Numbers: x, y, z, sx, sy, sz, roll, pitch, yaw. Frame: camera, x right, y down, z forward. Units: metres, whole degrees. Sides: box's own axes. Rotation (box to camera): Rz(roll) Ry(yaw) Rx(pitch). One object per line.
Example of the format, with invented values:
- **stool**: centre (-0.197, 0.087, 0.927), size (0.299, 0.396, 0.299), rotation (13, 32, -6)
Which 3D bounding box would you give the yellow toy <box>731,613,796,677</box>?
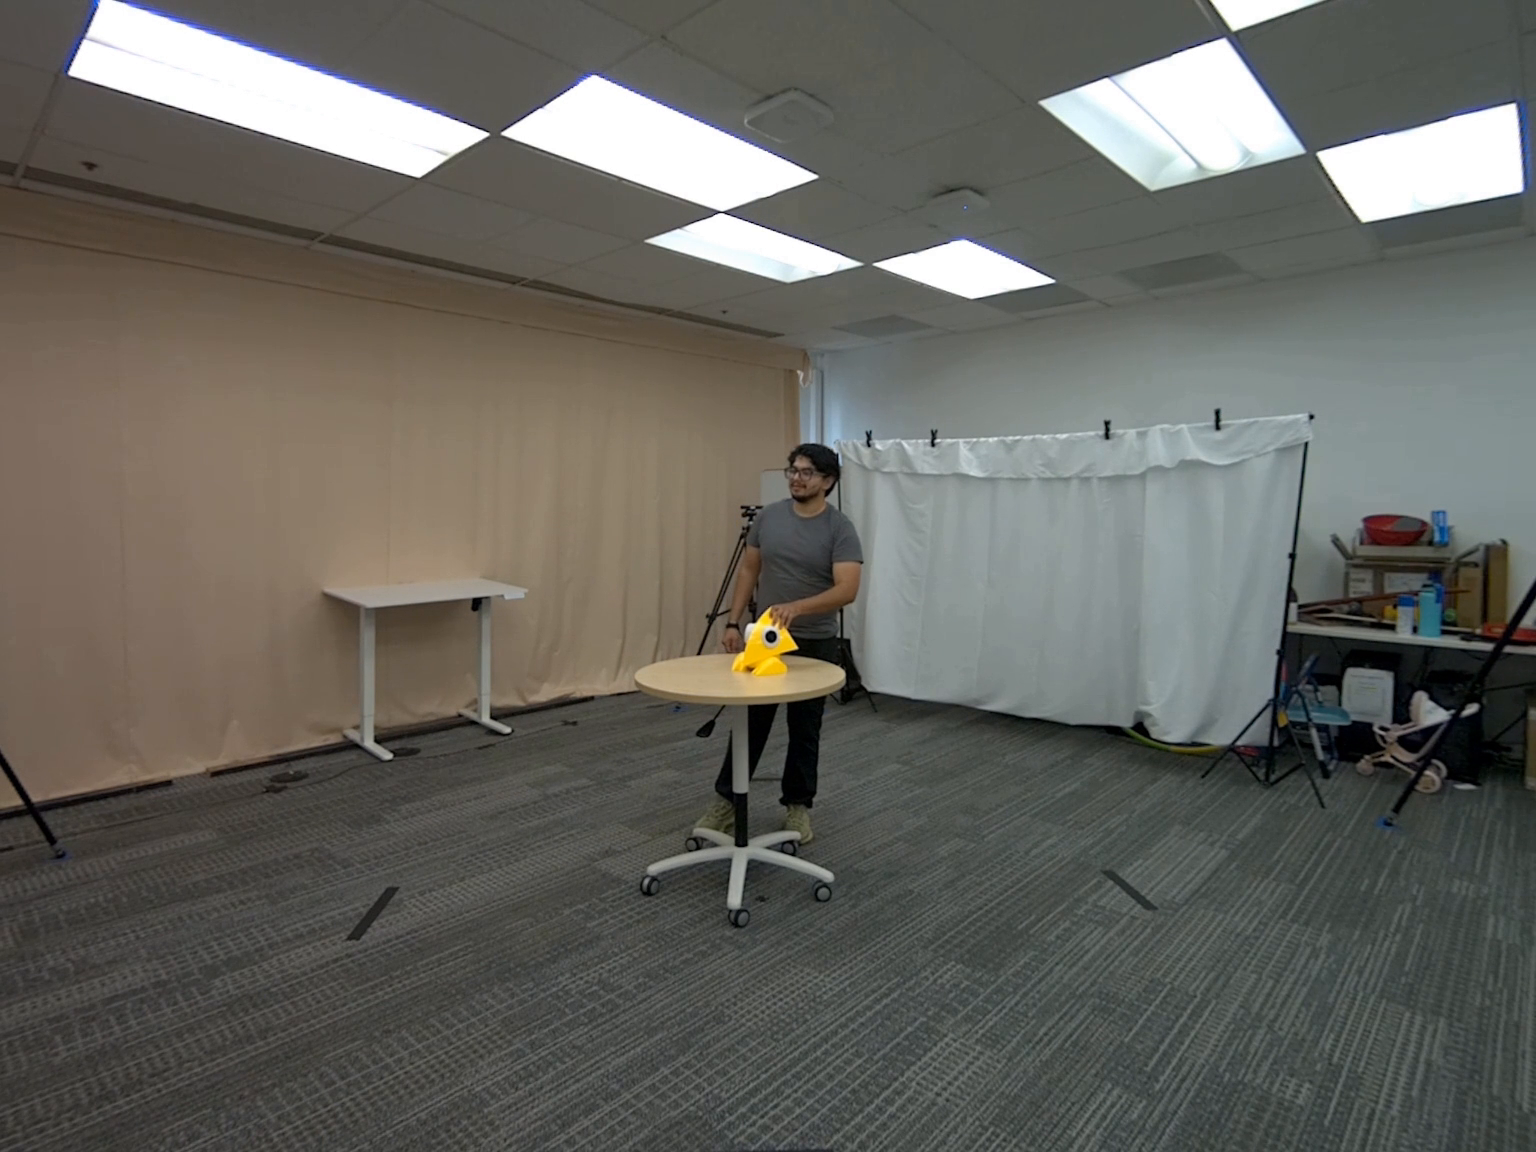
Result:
- **yellow toy**: centre (-0.024, 0.232, 3.121), size (0.187, 0.230, 0.211), rotation (-5, 6, -43)
